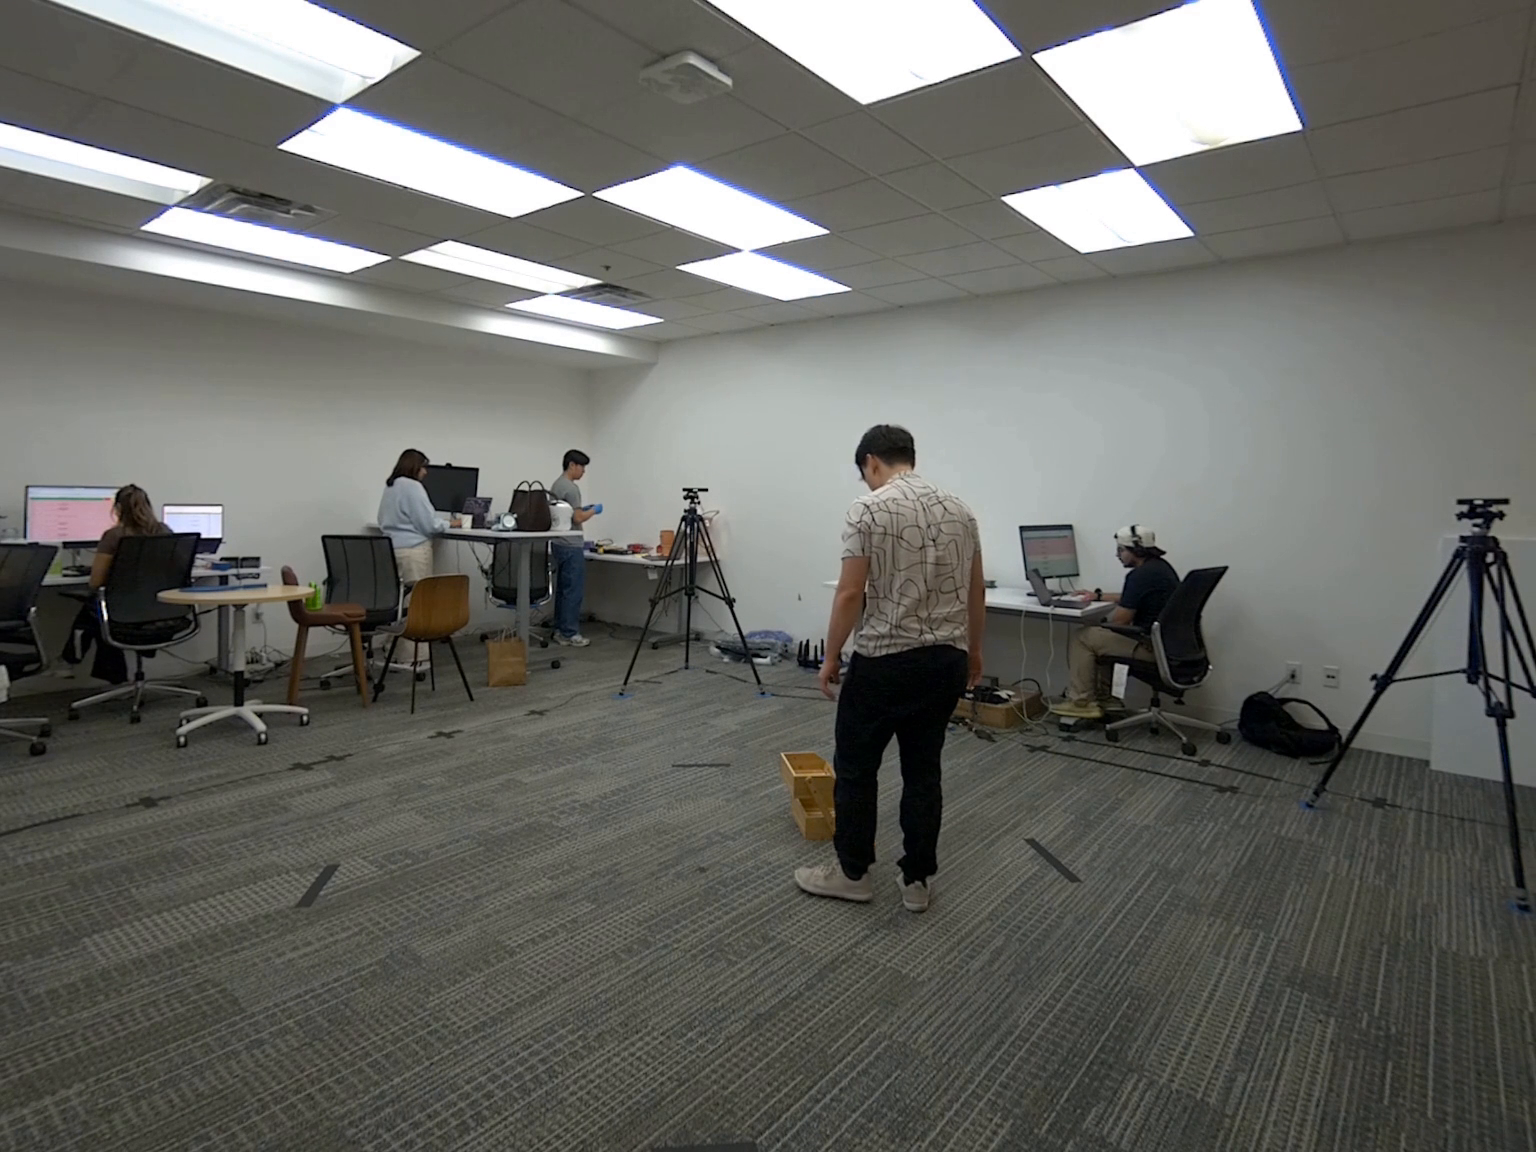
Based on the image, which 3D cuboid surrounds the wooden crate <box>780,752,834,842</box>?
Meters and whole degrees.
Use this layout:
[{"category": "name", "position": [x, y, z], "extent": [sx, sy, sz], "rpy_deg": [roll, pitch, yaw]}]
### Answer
[{"category": "wooden crate", "position": [0.224, 0.903, 3.549], "extent": [0.299, 0.272, 0.329], "rpy_deg": [1, 4, -10]}]
